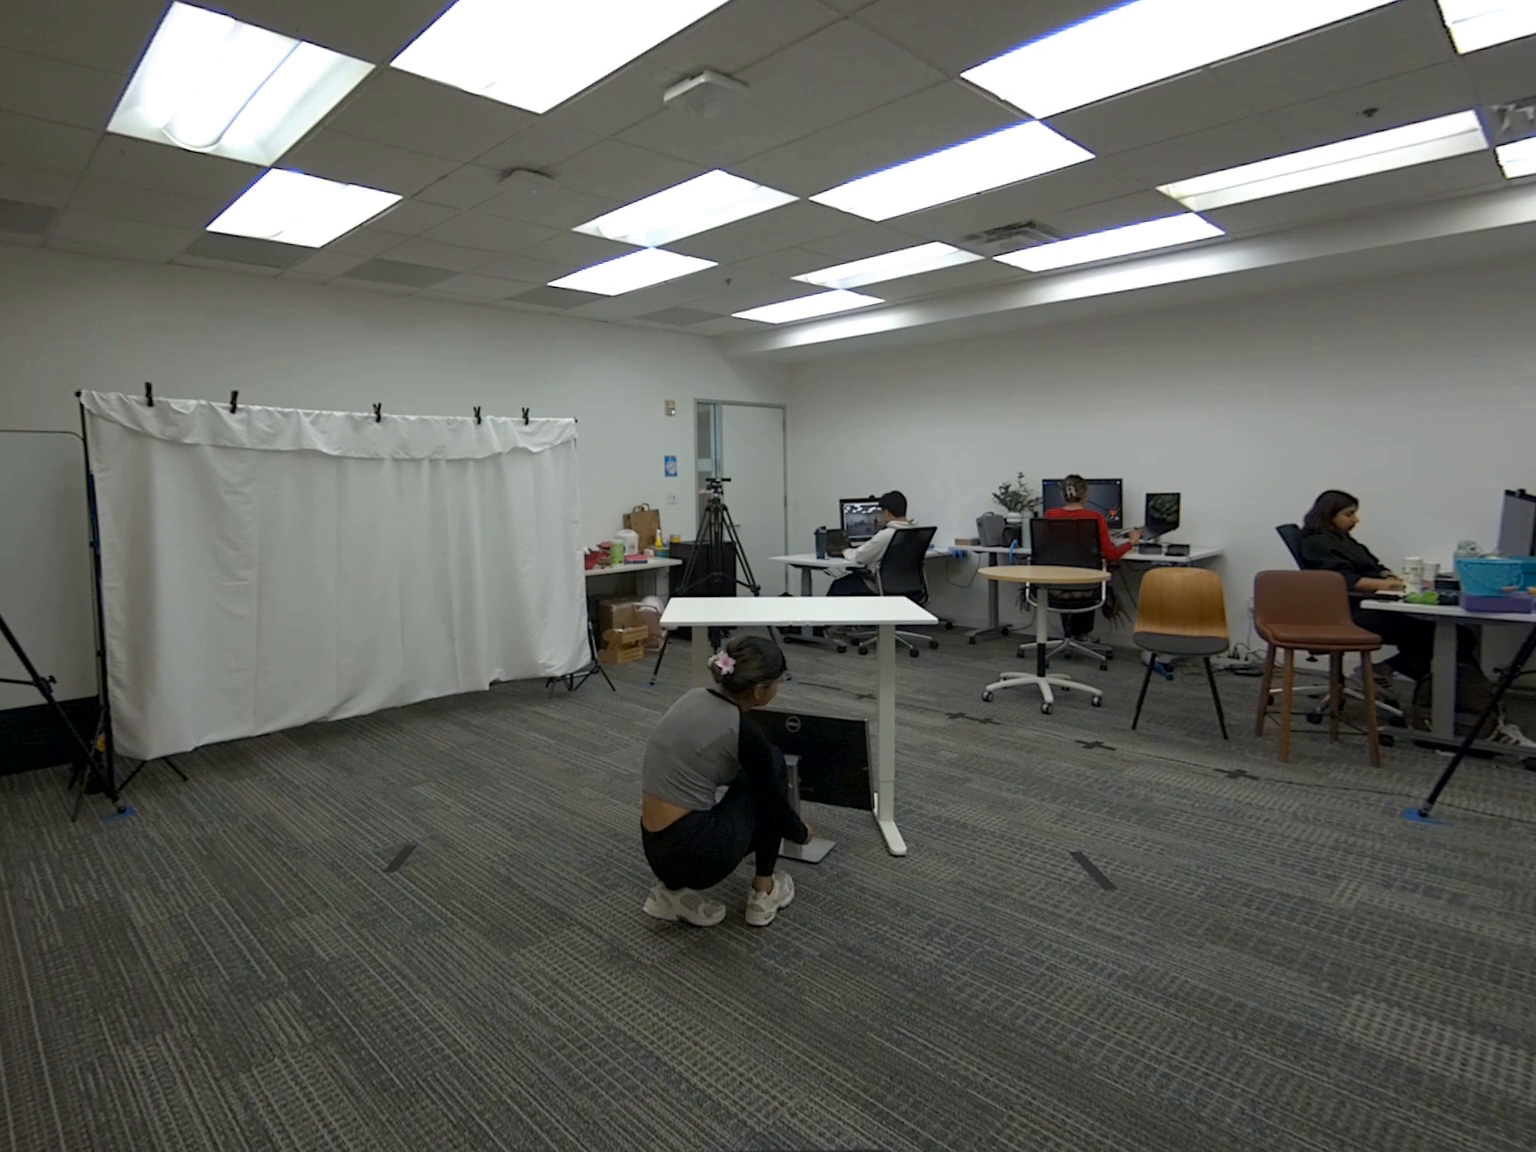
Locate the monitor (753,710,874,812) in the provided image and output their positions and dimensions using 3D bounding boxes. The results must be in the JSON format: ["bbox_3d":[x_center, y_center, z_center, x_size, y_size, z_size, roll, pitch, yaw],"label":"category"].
[{"bbox_3d":[0.111,0.770,3.206,0.552,0.522,0.183,1,2,26],"label":"monitor"}]
